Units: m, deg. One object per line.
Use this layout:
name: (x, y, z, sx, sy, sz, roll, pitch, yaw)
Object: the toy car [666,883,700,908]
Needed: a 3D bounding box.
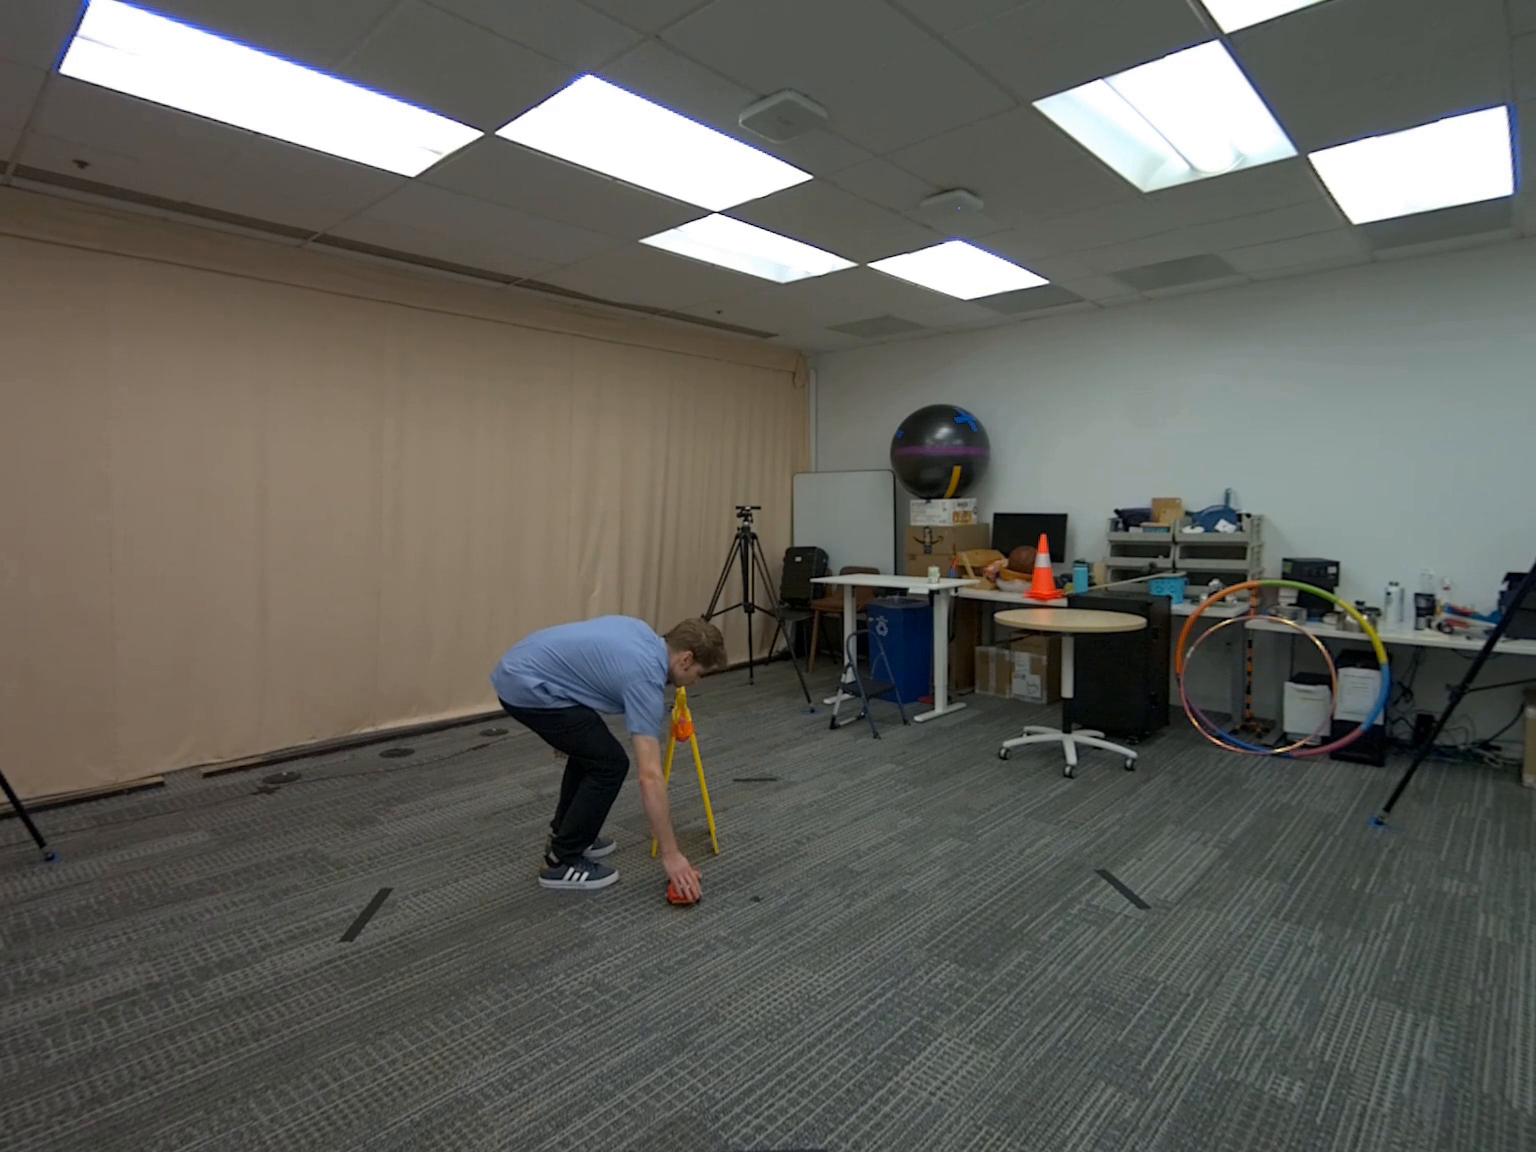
toy car: (-0.306, 1.109, 3.025, 0.130, 0.083, 0.254, -1, -7, -3)
